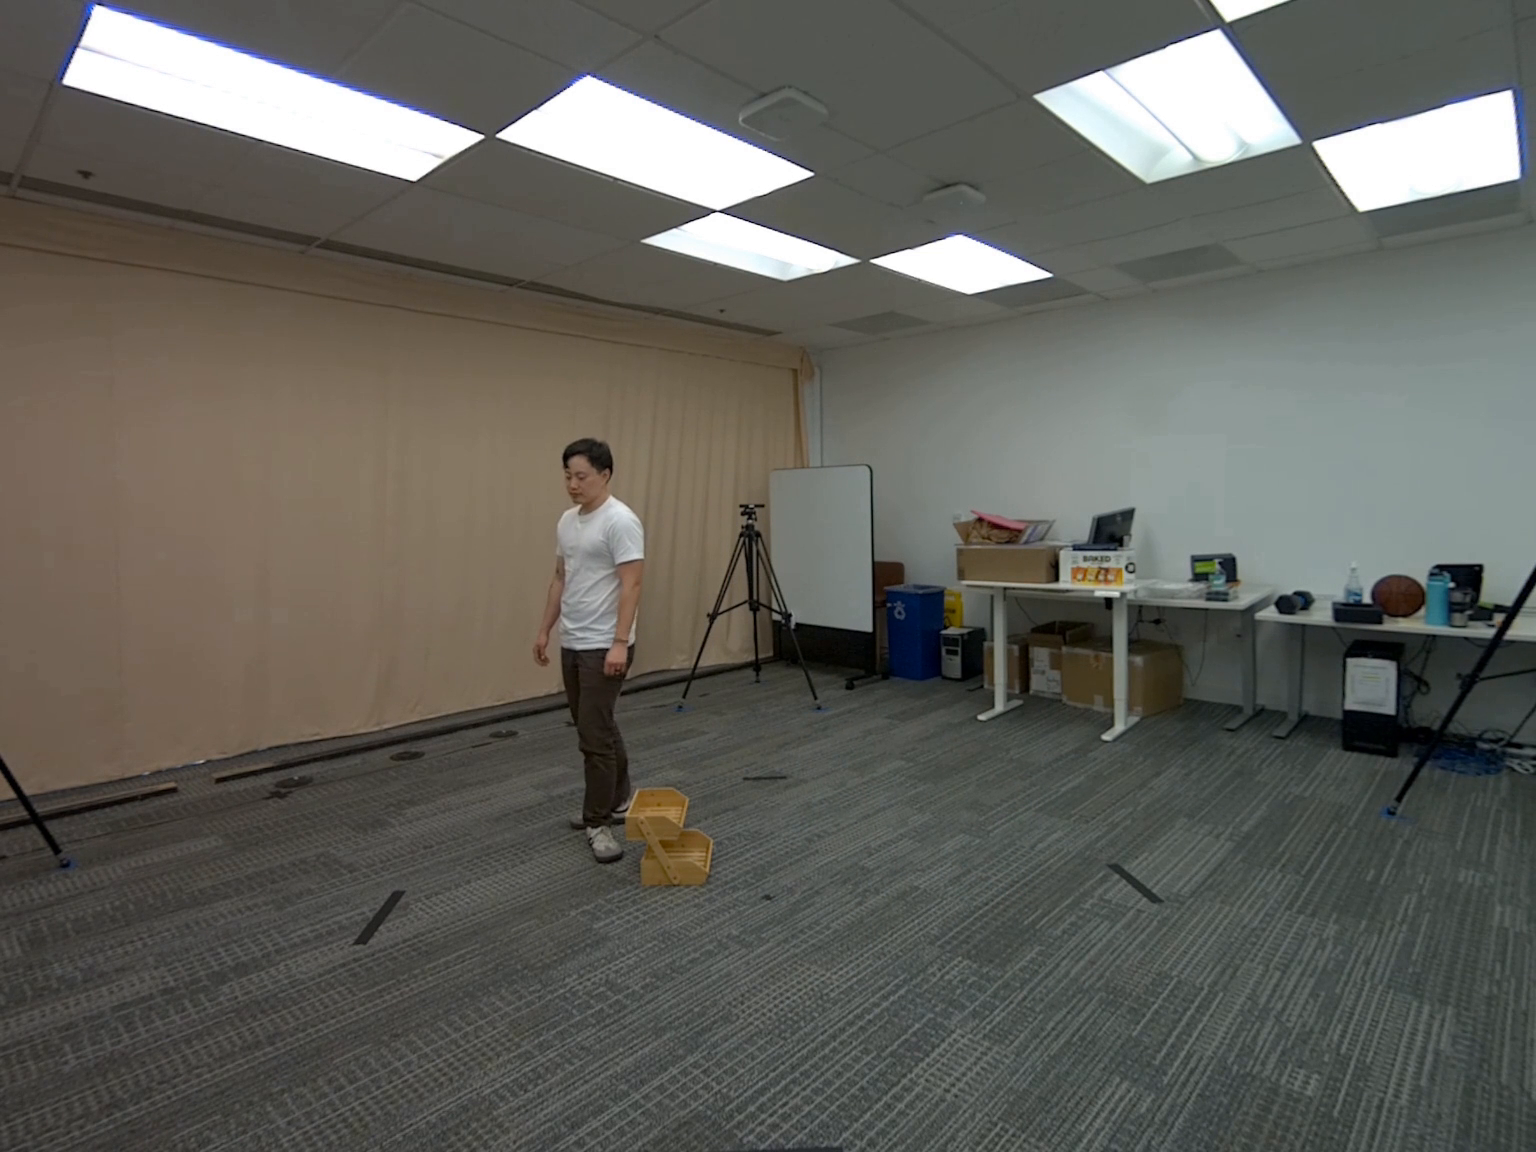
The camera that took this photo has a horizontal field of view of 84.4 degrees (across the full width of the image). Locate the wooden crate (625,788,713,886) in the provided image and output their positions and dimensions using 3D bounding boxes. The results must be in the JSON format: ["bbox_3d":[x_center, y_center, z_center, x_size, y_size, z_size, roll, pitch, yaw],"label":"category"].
[{"bbox_3d":[-0.366,0.990,3.240,0.303,0.273,0.325,-2,4,1],"label":"wooden crate"}]
